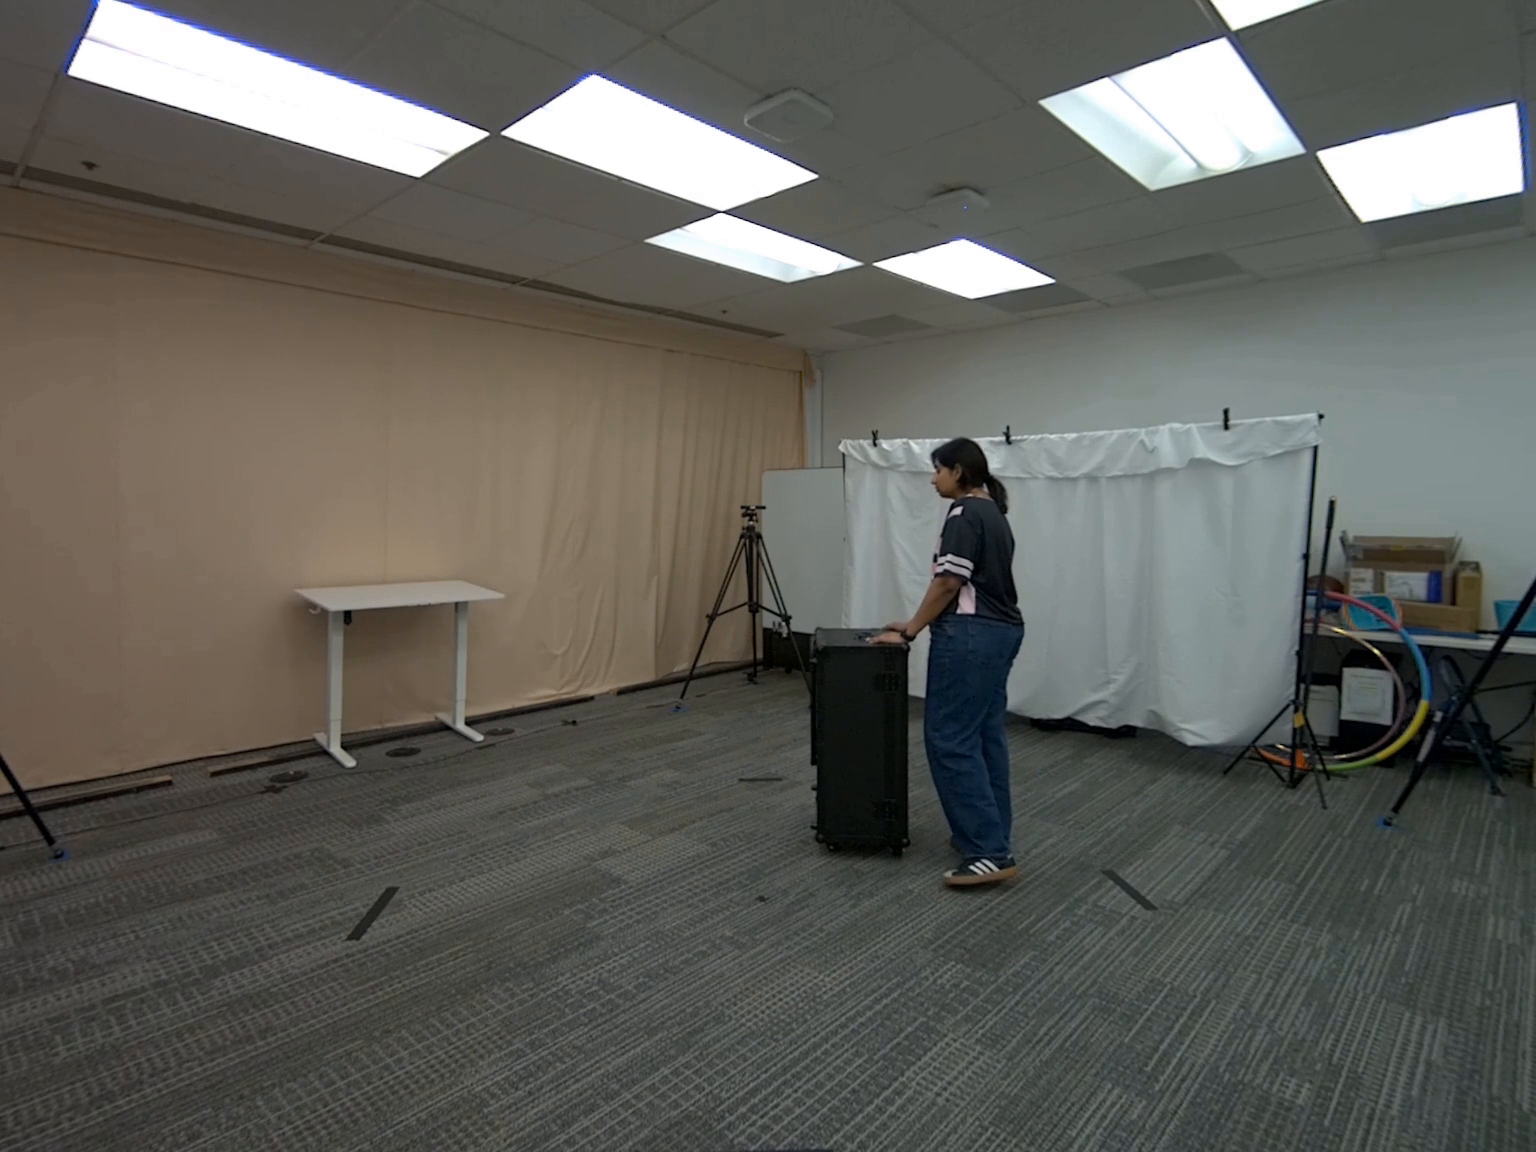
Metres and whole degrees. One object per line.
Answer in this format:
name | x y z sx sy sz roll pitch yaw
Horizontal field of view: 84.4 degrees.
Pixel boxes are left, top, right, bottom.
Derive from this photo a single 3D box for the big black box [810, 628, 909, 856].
big black box | 0.380 0.679 3.496 0.387 0.867 0.522 0 3 4
